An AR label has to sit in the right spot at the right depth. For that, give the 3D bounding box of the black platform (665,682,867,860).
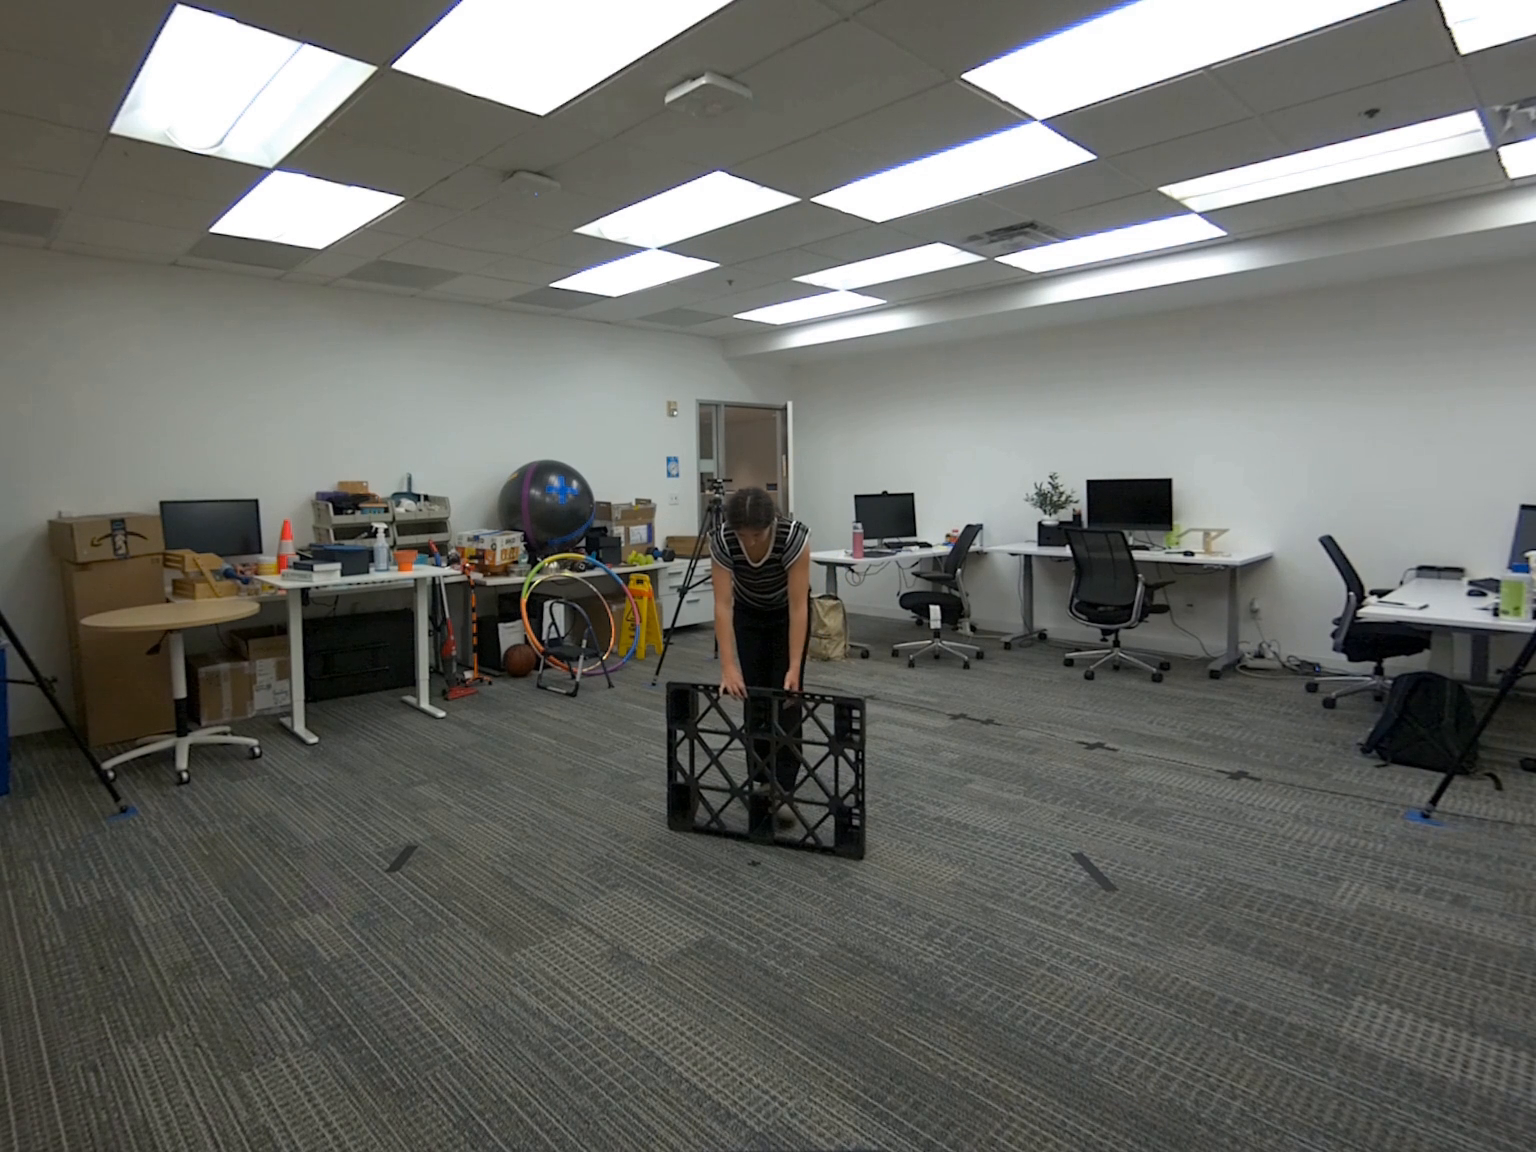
[{"bbox_3d":[-0.006,0.727,3.310,0.822,0.603,0.141,1,4,22],"label":"black platform"}]
